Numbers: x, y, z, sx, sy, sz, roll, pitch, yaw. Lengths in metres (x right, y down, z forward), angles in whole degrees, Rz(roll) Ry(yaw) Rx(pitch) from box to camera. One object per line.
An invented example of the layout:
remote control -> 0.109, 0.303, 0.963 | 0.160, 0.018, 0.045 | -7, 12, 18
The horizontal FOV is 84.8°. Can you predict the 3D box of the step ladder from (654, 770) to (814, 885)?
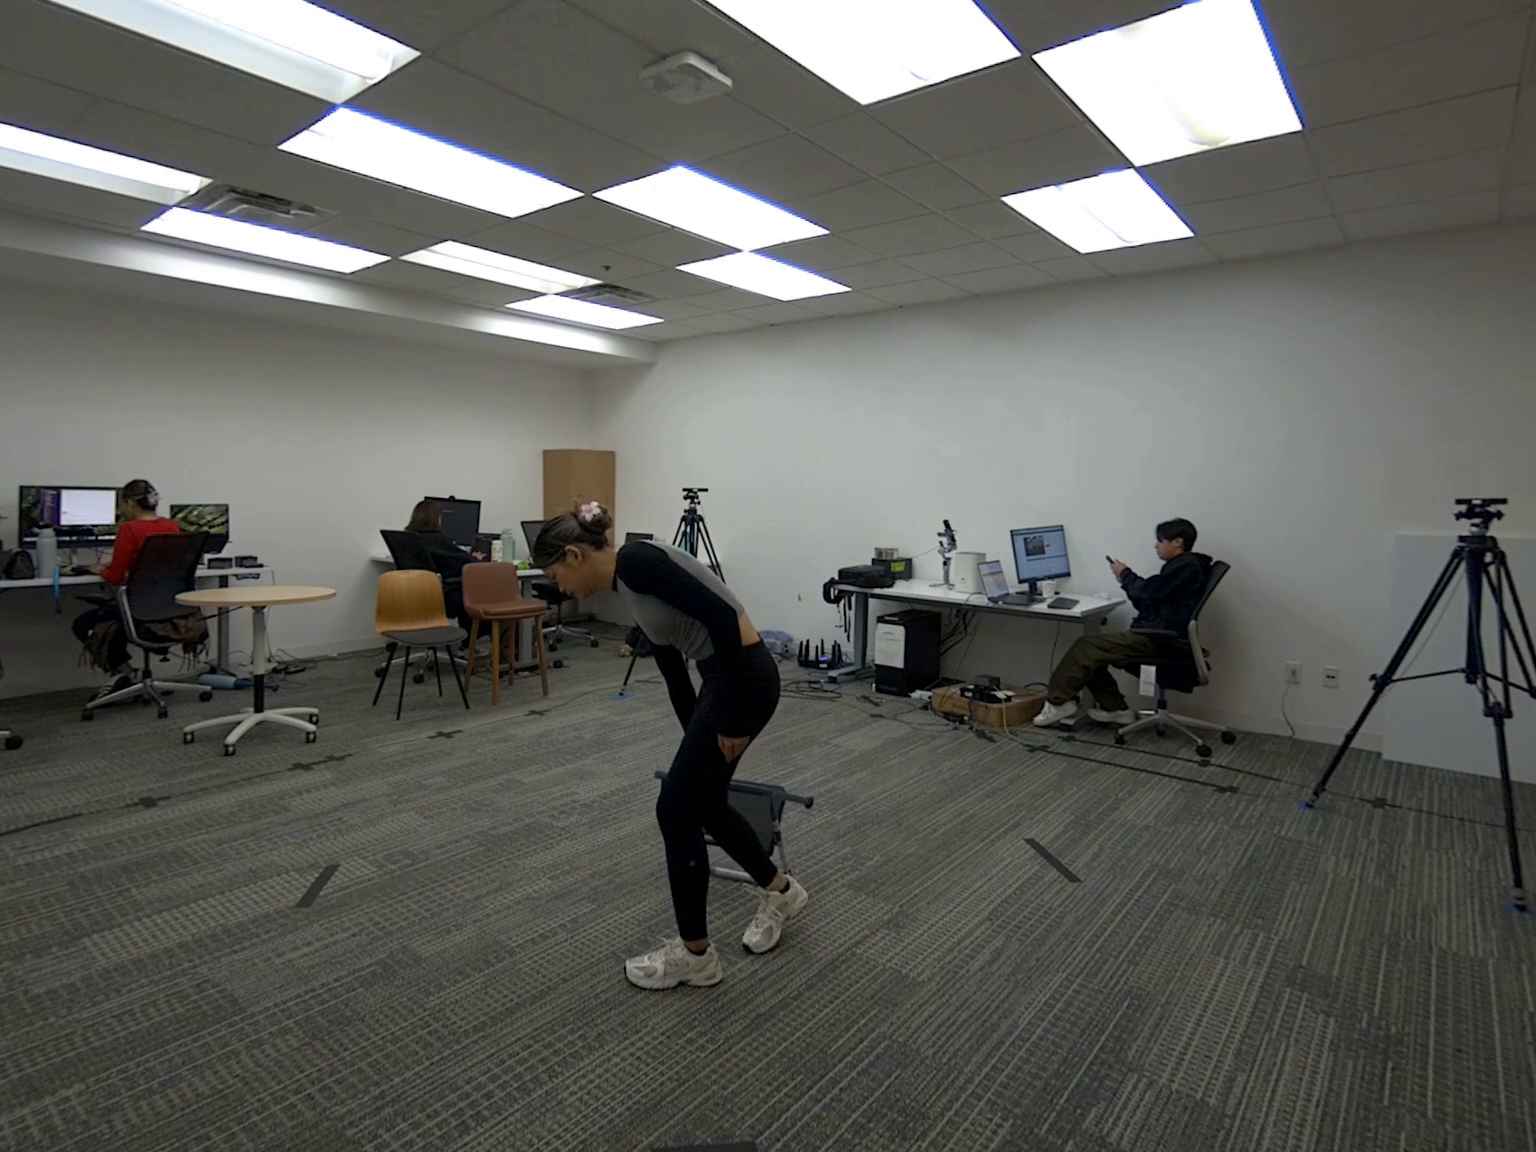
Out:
step ladder -> -0.146, 0.765, 2.921 | 0.440, 0.355, 0.583 | 3, -38, 20
